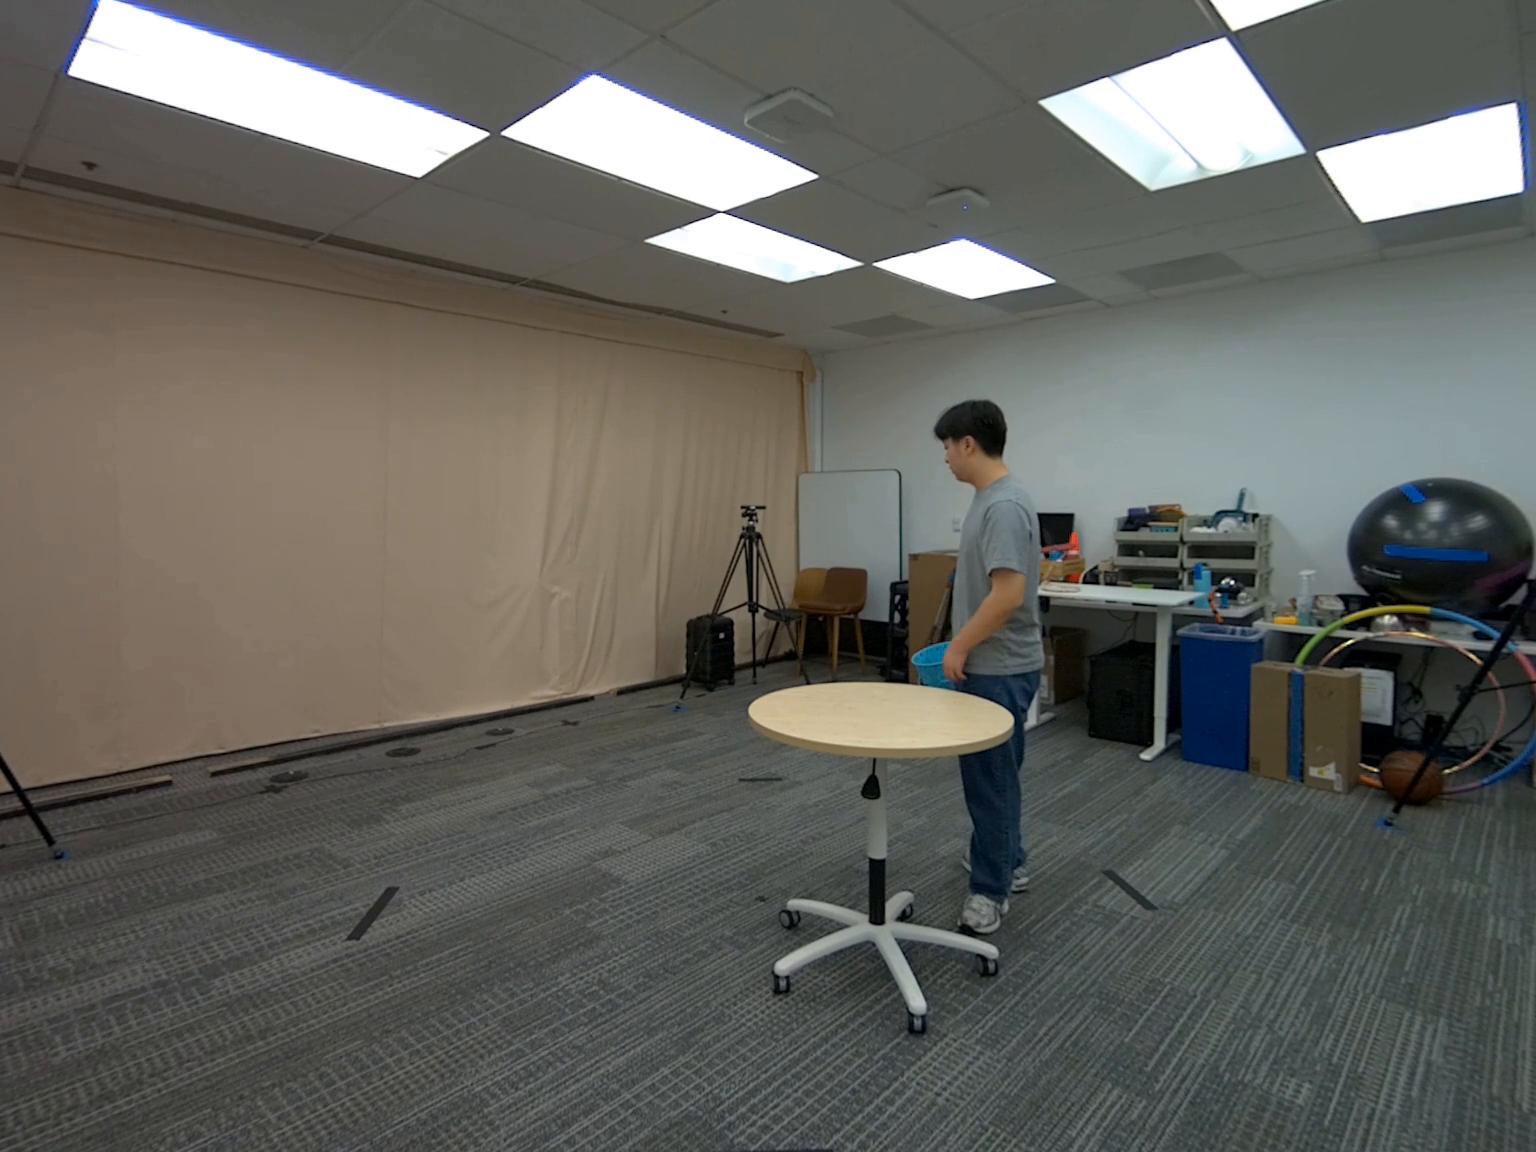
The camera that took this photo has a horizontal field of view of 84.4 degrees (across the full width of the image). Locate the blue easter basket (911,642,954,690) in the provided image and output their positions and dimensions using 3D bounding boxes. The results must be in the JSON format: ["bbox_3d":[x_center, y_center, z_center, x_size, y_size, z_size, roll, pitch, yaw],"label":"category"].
[{"bbox_3d":[0.683,0.365,3.280,0.244,0.155,0.245,-16,7,0],"label":"blue easter basket"}]
